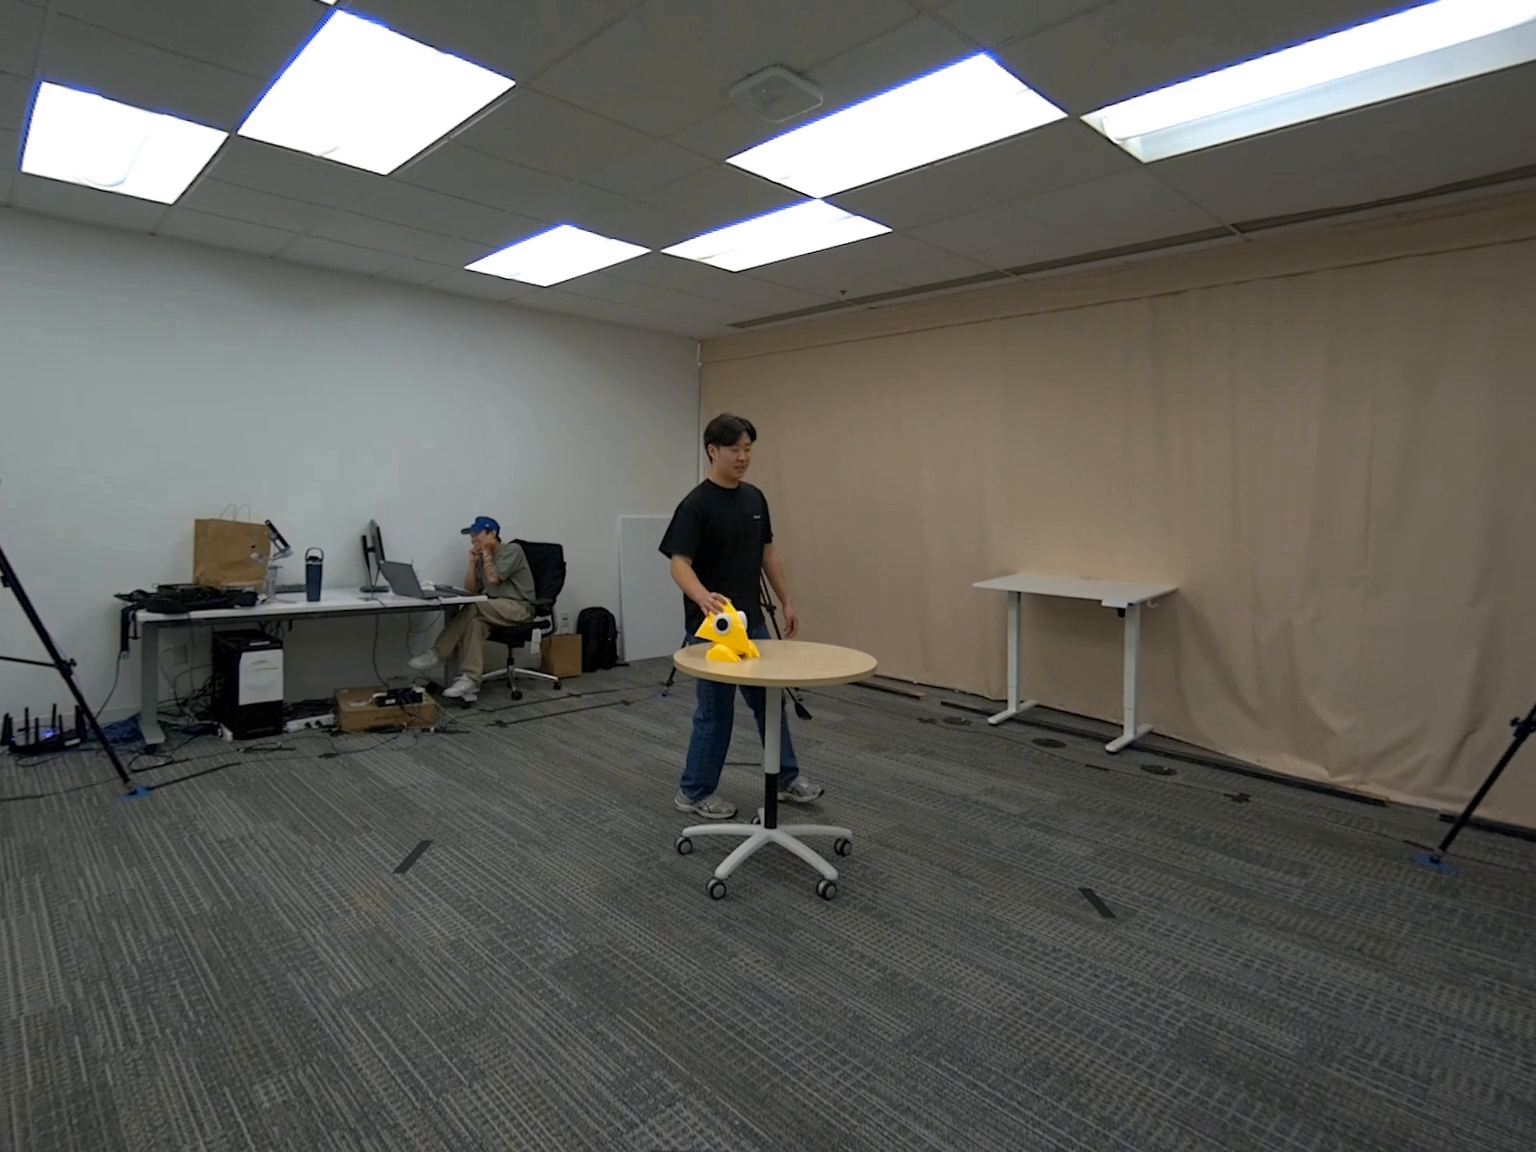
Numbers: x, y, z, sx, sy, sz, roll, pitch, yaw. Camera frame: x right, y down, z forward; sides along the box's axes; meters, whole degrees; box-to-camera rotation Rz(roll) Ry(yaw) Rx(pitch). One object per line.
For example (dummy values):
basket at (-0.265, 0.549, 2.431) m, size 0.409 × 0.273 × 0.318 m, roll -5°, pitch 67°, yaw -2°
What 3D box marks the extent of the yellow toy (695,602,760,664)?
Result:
yellow toy at (-0.154, 0.190, 3.176) m, size 0.198 × 0.230 × 0.200 m, roll 5°, pitch 6°, yaw 40°
